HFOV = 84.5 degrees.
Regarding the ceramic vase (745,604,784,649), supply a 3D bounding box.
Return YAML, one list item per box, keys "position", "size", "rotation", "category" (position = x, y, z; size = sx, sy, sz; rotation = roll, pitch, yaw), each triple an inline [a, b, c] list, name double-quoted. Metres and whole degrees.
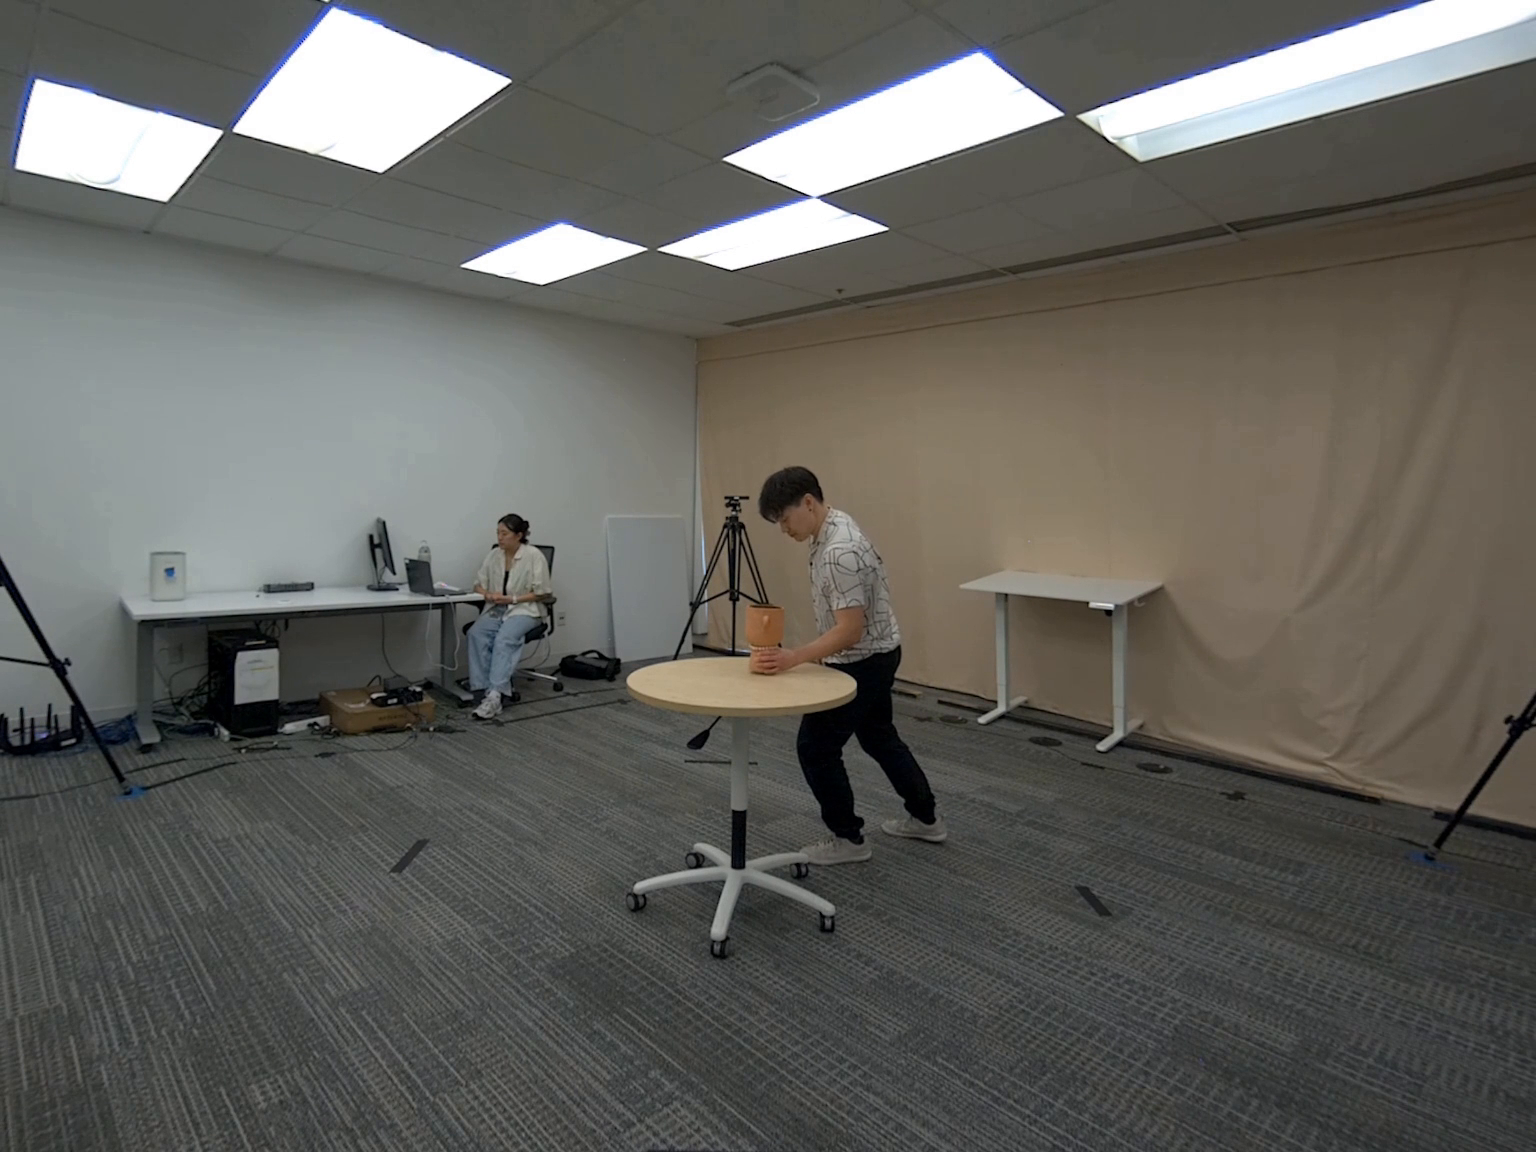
- position: [-0.018, 0.217, 2.916]
  size: [0.138, 0.219, 0.155]
  rotation: [7, 6, 39]
  category: "ceramic vase"
